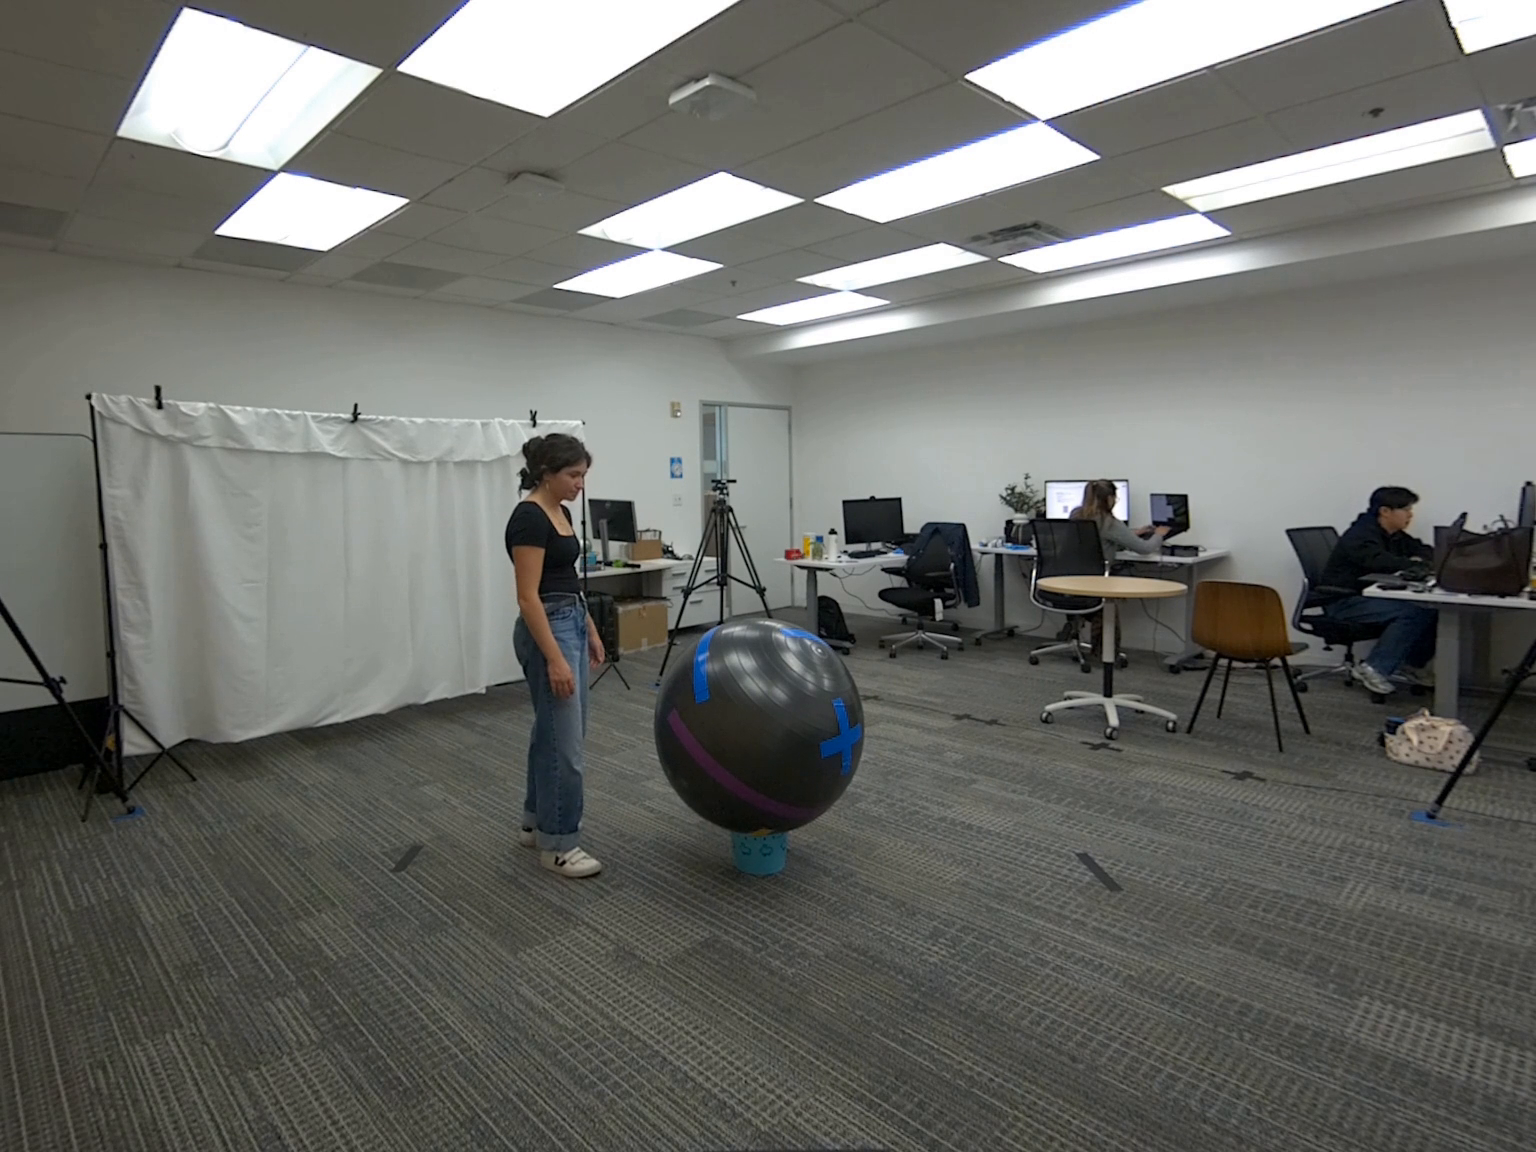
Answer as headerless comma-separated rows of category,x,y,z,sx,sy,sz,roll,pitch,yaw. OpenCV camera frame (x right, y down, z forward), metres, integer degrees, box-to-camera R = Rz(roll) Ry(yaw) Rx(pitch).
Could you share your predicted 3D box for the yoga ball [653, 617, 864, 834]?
yoga ball,-0.033,0.535,3.084,0.757,0.755,0.762,-1,5,-2
